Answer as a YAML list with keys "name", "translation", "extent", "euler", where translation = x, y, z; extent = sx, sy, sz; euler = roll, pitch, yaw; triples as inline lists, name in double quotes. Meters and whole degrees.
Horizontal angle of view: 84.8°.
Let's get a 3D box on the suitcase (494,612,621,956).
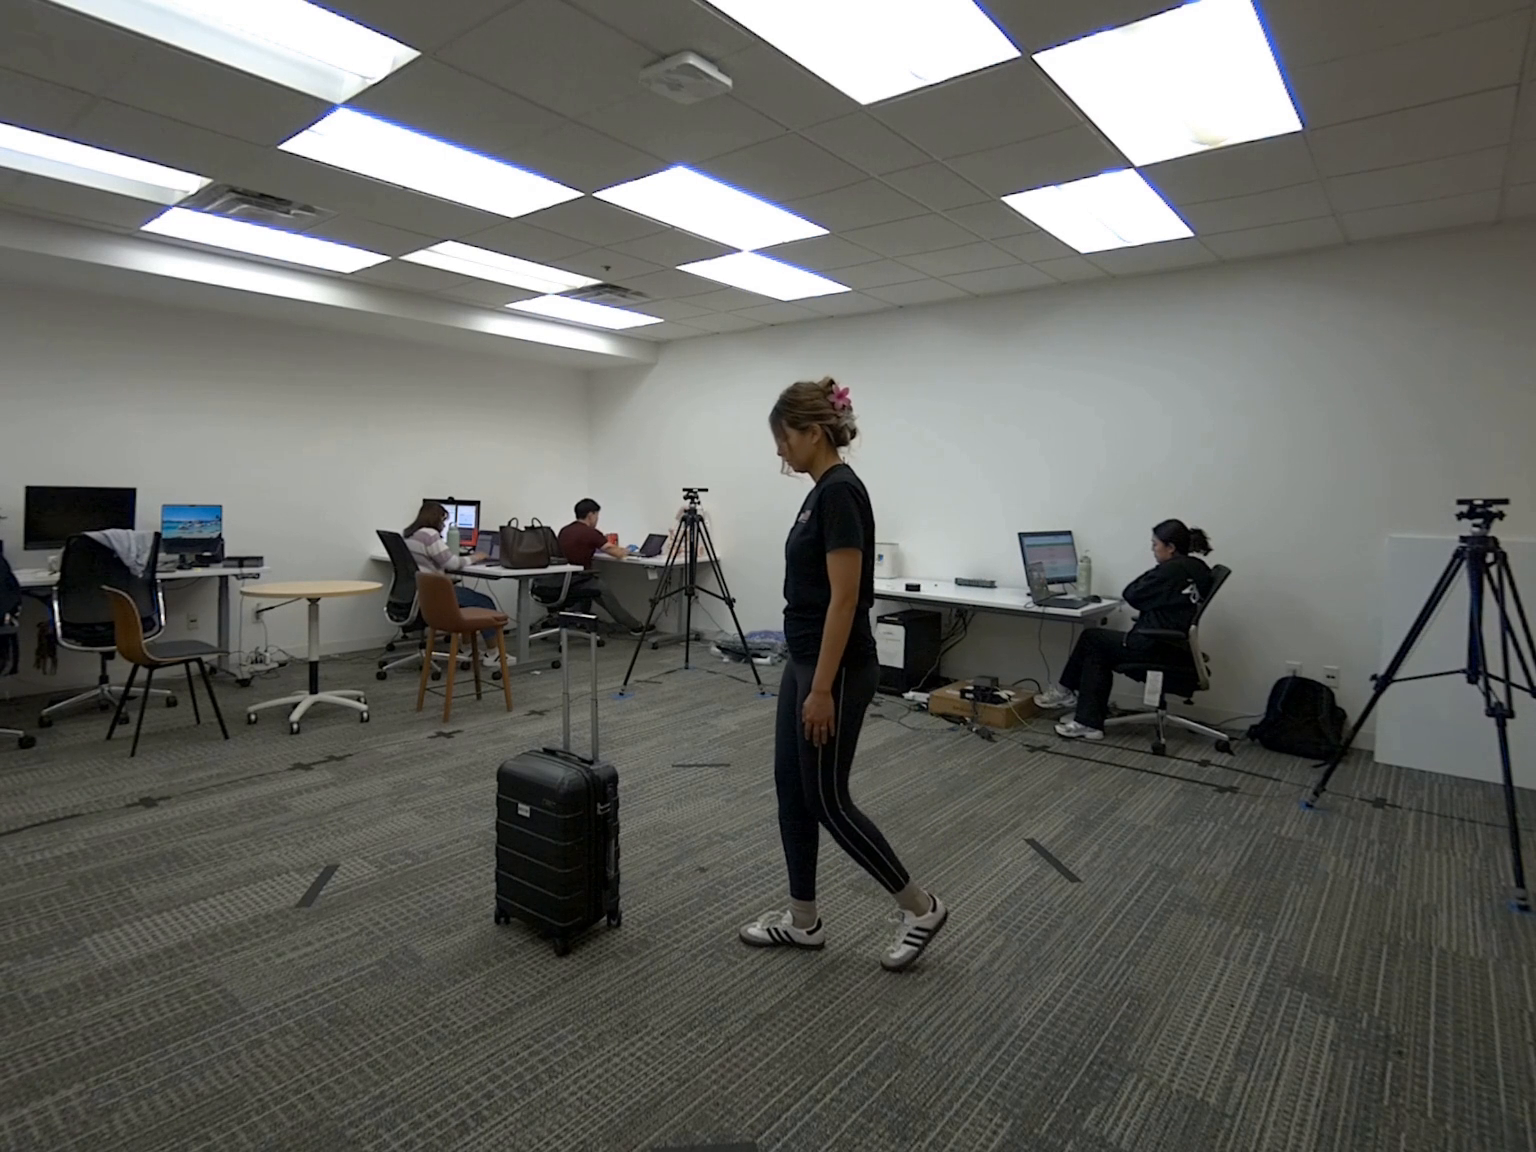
- name: "suitcase"
  translation: [-0.672, 0.635, 2.644]
  extent: [0.396, 0.973, 0.250]
  euler: [5, 8, 35]
